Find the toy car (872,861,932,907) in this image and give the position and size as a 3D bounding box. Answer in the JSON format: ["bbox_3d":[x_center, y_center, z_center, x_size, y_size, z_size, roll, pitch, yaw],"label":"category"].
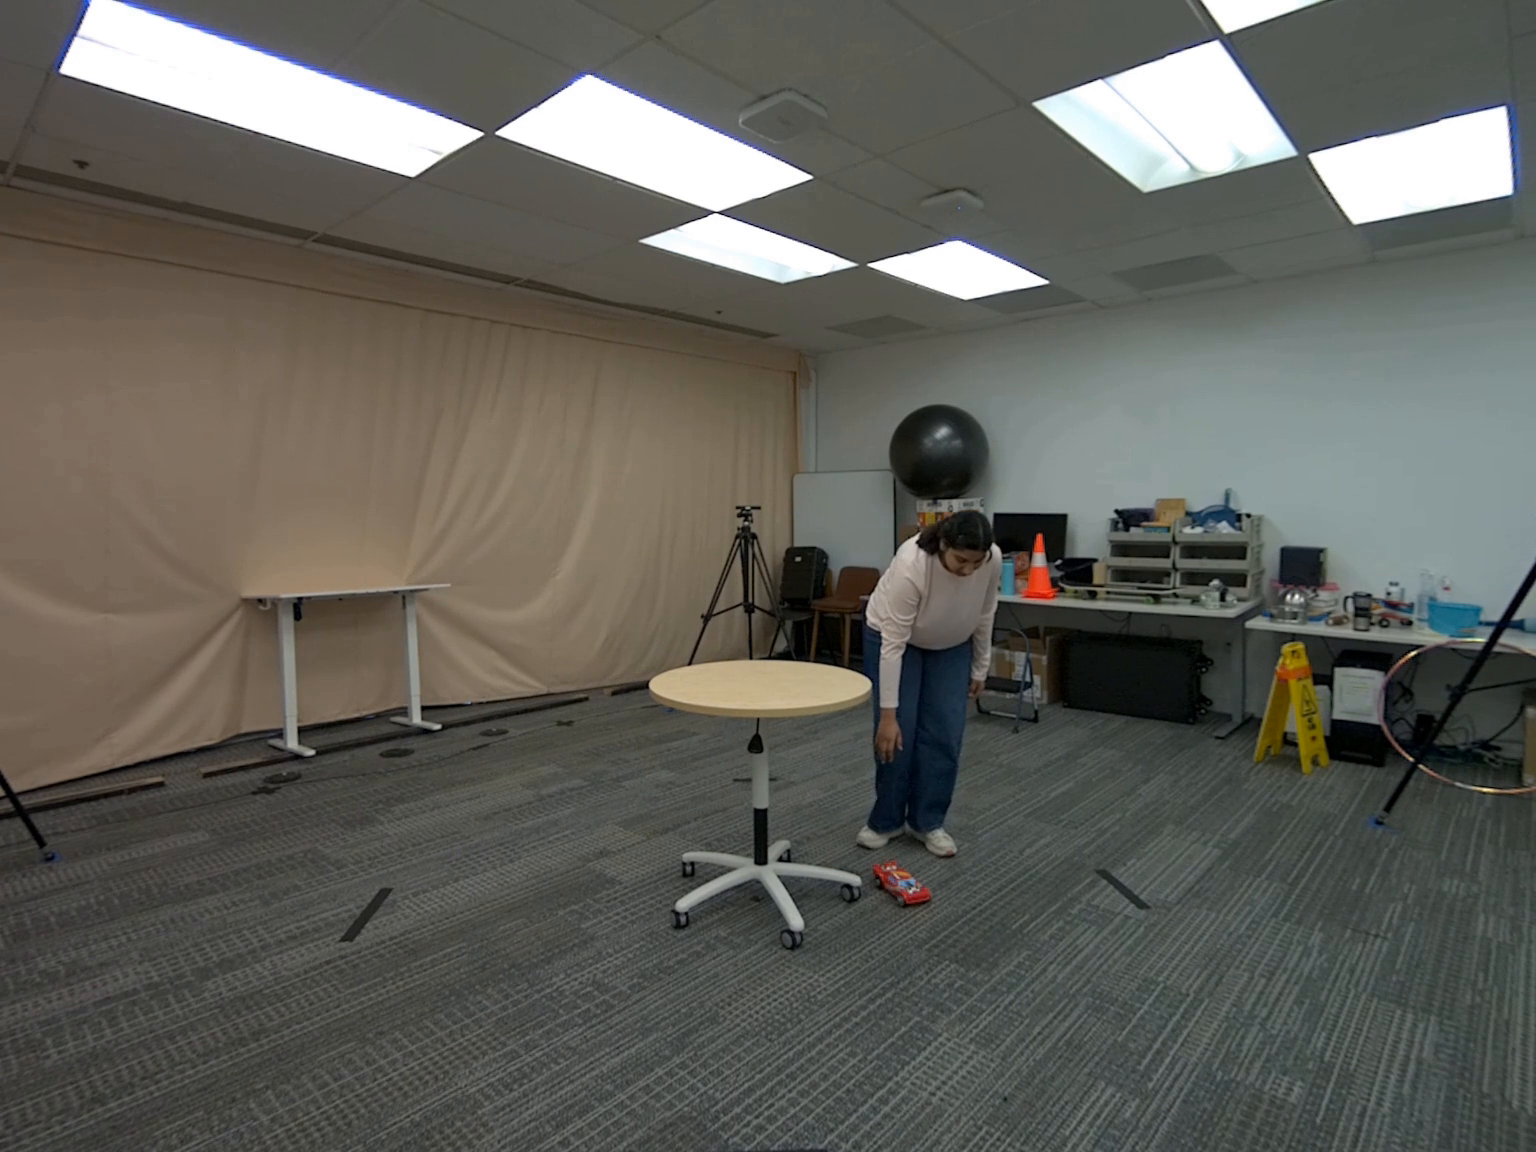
[{"bbox_3d":[0.480,1.107,3.027,0.128,0.082,0.262,-1,16,-21],"label":"toy car"}]
